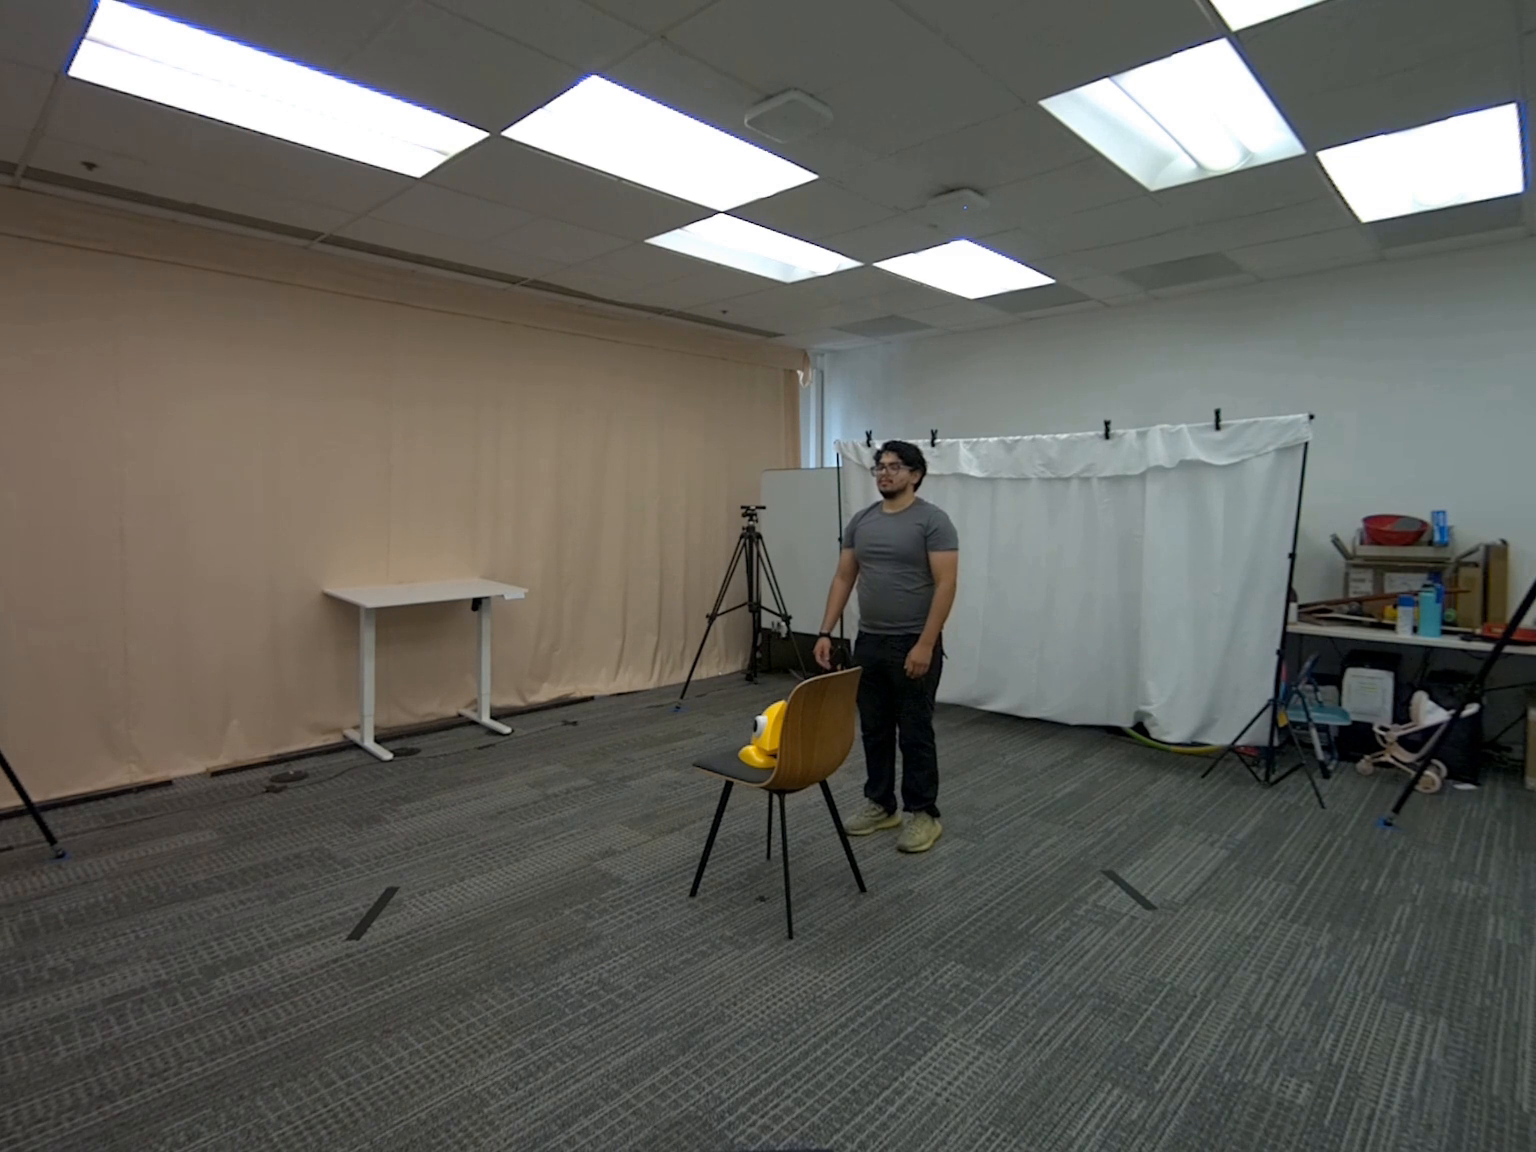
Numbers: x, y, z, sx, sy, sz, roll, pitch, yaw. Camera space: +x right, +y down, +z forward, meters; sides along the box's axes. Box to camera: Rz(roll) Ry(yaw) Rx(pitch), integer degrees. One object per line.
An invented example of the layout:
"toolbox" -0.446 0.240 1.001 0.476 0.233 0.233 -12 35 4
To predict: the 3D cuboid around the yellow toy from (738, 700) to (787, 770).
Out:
"yellow toy" 0.011 0.547 3.030 0.199 0.229 0.200 -7 12 -44
